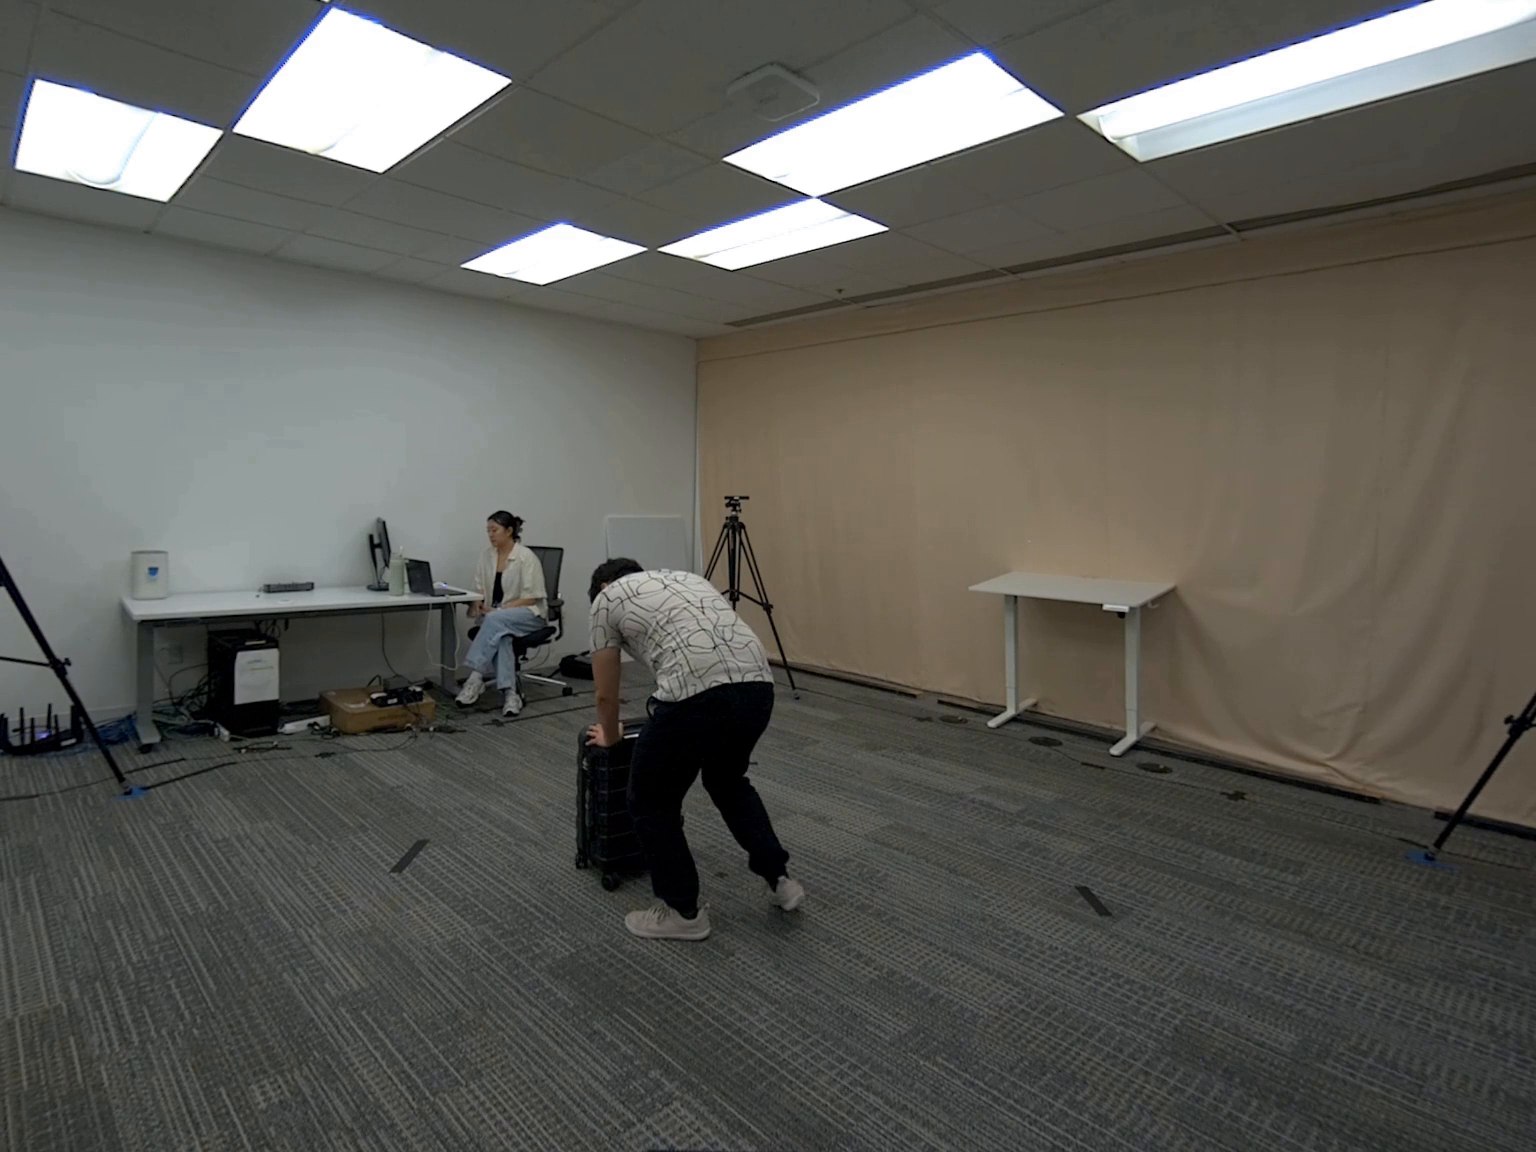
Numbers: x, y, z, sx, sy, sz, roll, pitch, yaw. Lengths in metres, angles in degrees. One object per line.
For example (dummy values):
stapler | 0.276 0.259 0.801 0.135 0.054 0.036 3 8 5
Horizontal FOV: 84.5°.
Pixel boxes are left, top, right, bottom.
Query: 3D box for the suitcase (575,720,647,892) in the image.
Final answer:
suitcase | -0.529 0.818 3.143 0.367 0.548 0.254 -2 3 -35
